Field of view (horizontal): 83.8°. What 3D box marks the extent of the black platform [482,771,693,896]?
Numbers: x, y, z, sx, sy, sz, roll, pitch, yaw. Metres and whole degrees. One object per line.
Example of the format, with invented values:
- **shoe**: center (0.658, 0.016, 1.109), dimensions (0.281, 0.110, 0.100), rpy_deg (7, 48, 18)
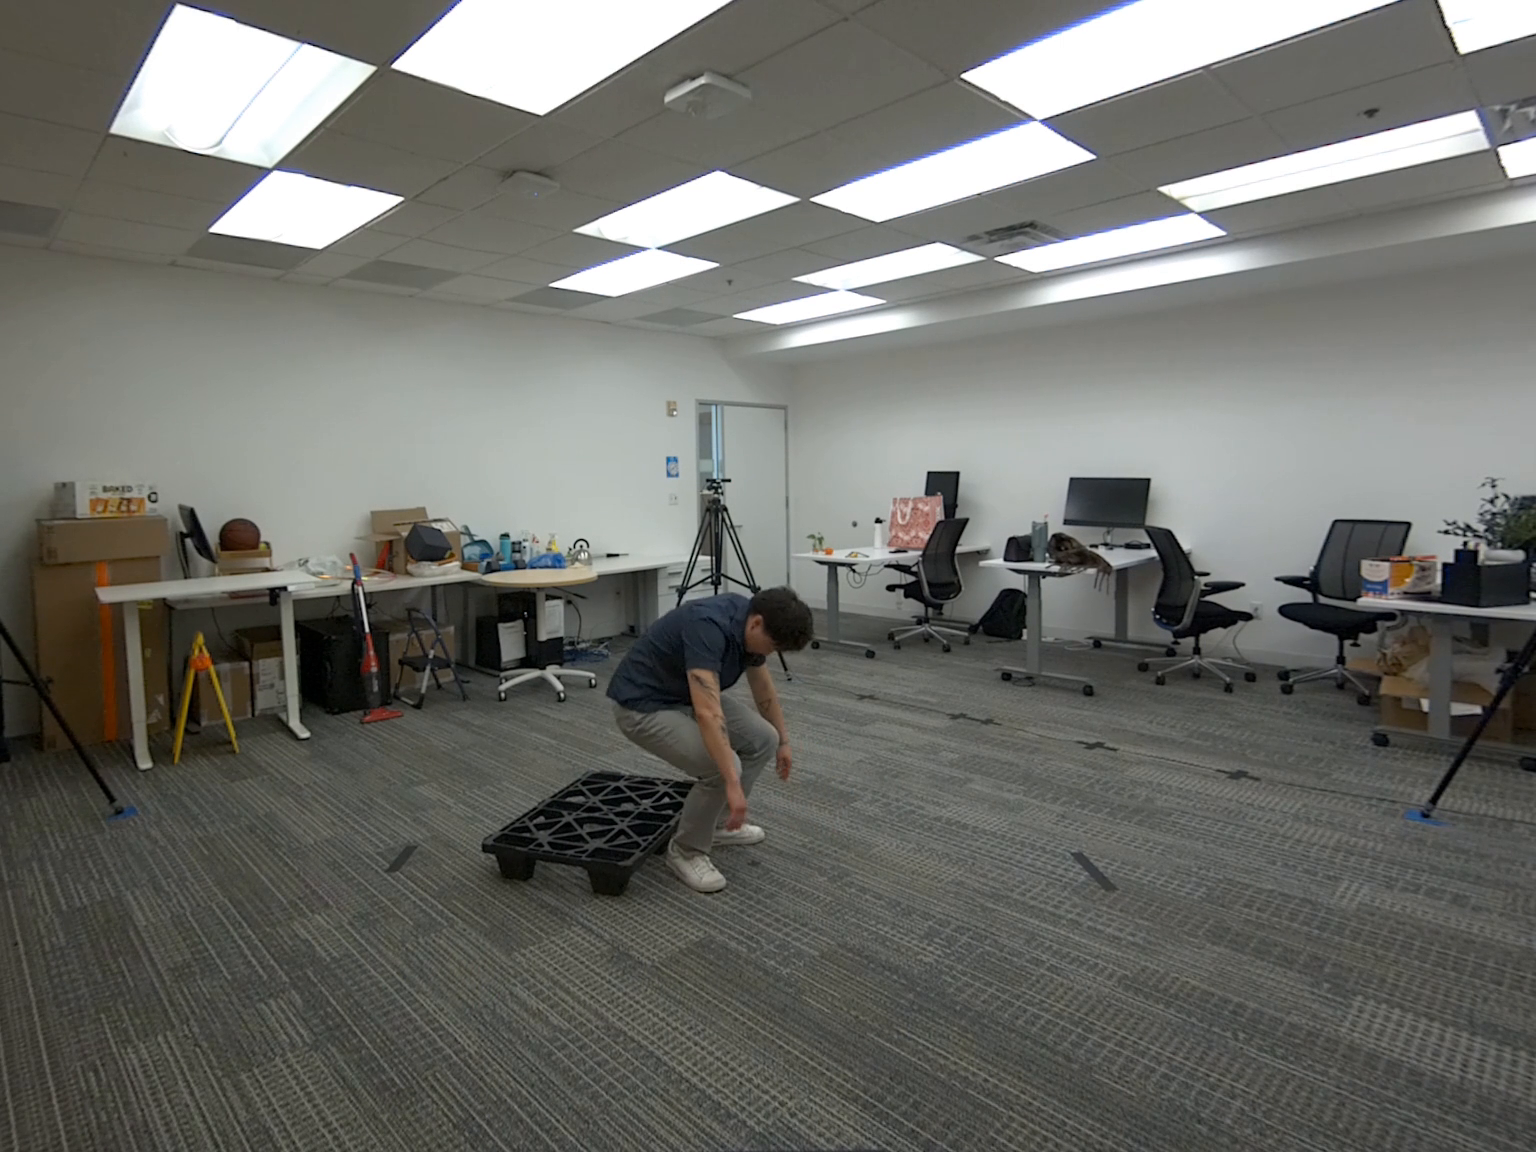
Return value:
- **black platform**: center (-0.609, 0.968, 3.292), dimensions (0.617, 0.142, 0.794), rpy_deg (1, 7, 19)
